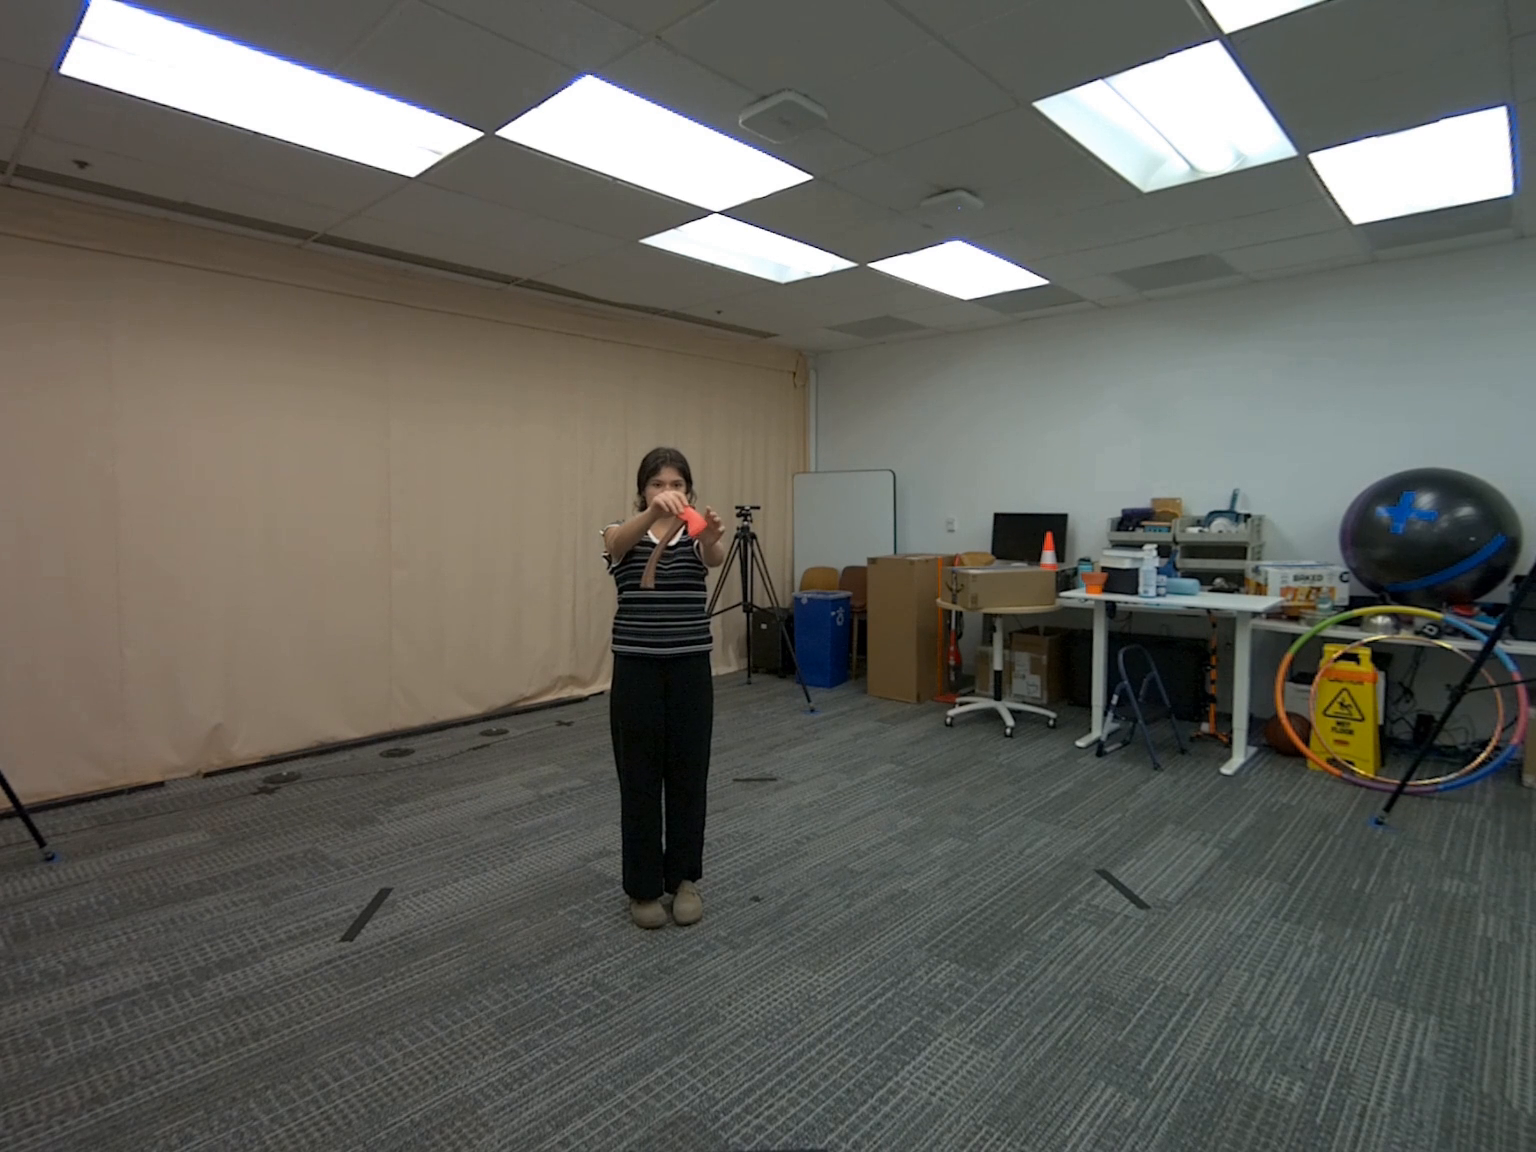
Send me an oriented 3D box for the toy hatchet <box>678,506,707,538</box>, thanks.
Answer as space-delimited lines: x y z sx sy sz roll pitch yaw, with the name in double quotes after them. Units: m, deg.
-0.249 -0.083 2.292 0.133 0.272 0.029 8 -22 16 "toy hatchet"
